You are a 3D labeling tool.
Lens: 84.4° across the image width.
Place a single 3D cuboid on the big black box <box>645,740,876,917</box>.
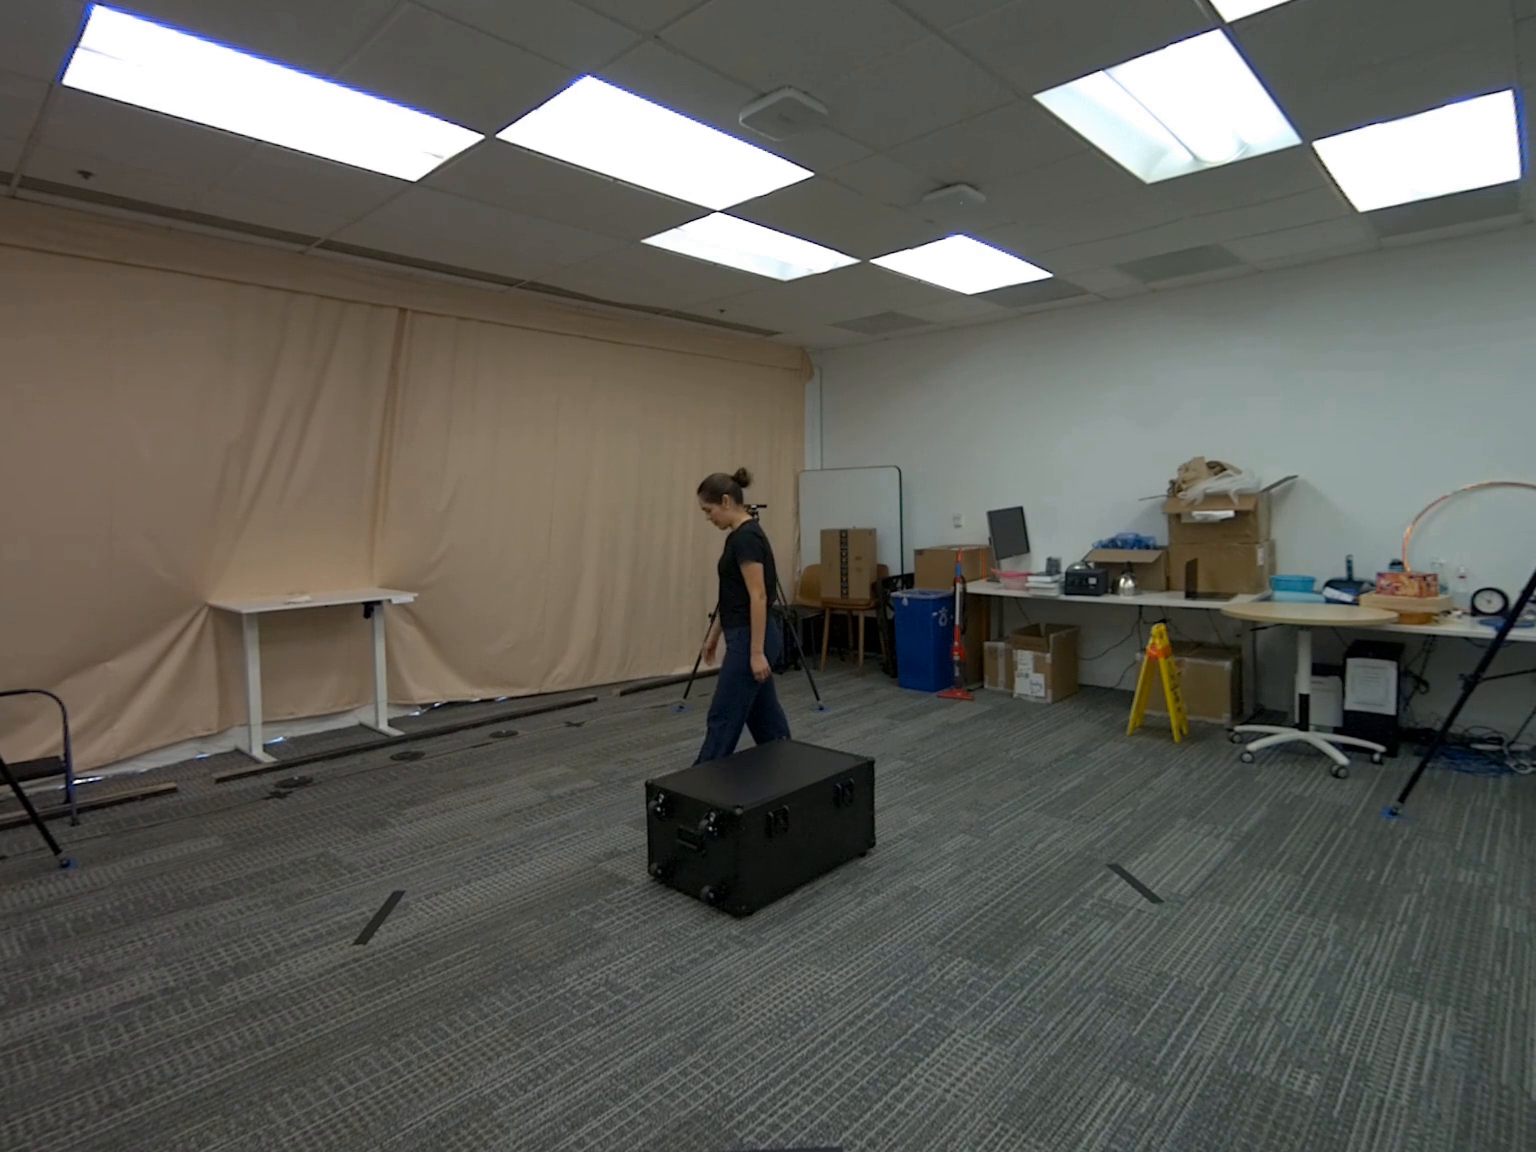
[{"bbox_3d":[-0.021,0.930,3.216,0.538,0.395,0.835,3,5,43],"label":"big black box"}]
